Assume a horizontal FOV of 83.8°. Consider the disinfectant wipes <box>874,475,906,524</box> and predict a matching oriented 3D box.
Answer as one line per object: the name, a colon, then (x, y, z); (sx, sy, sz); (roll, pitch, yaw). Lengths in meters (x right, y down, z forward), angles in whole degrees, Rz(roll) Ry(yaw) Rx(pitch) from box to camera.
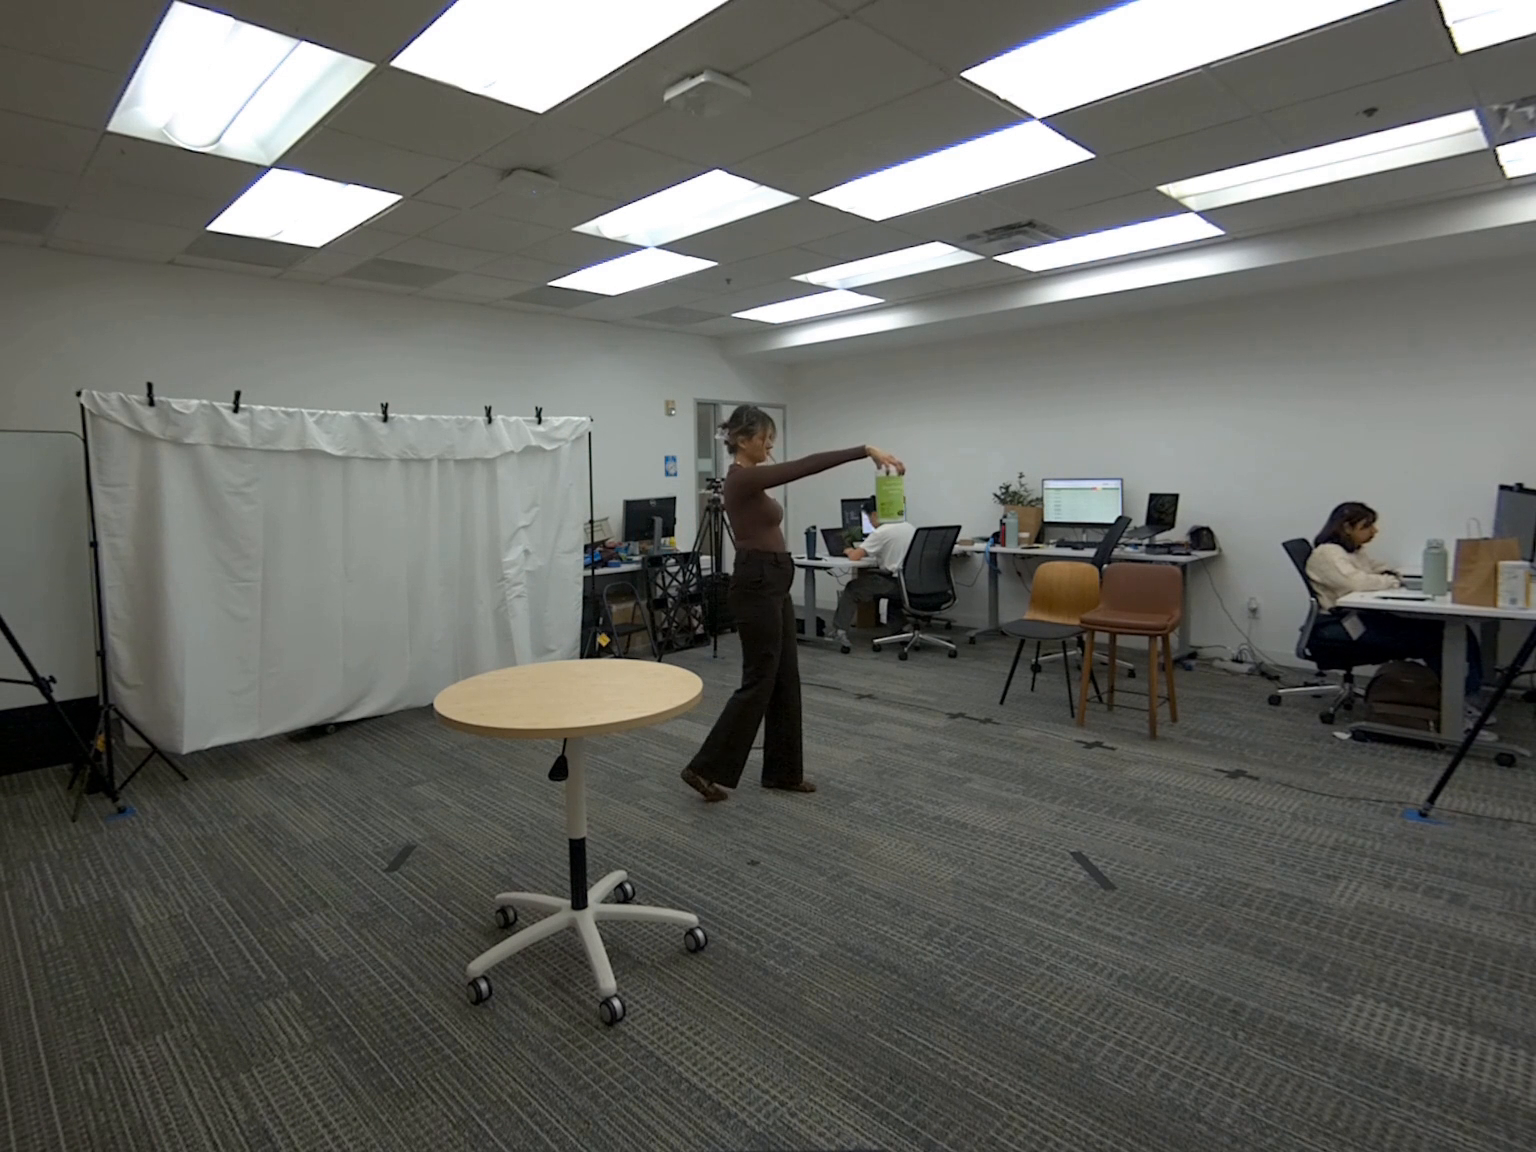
disinfectant wipes: (0.483, -0.316, 3.393); (0.118, 0.216, 0.119); (-3, 7, -1)
